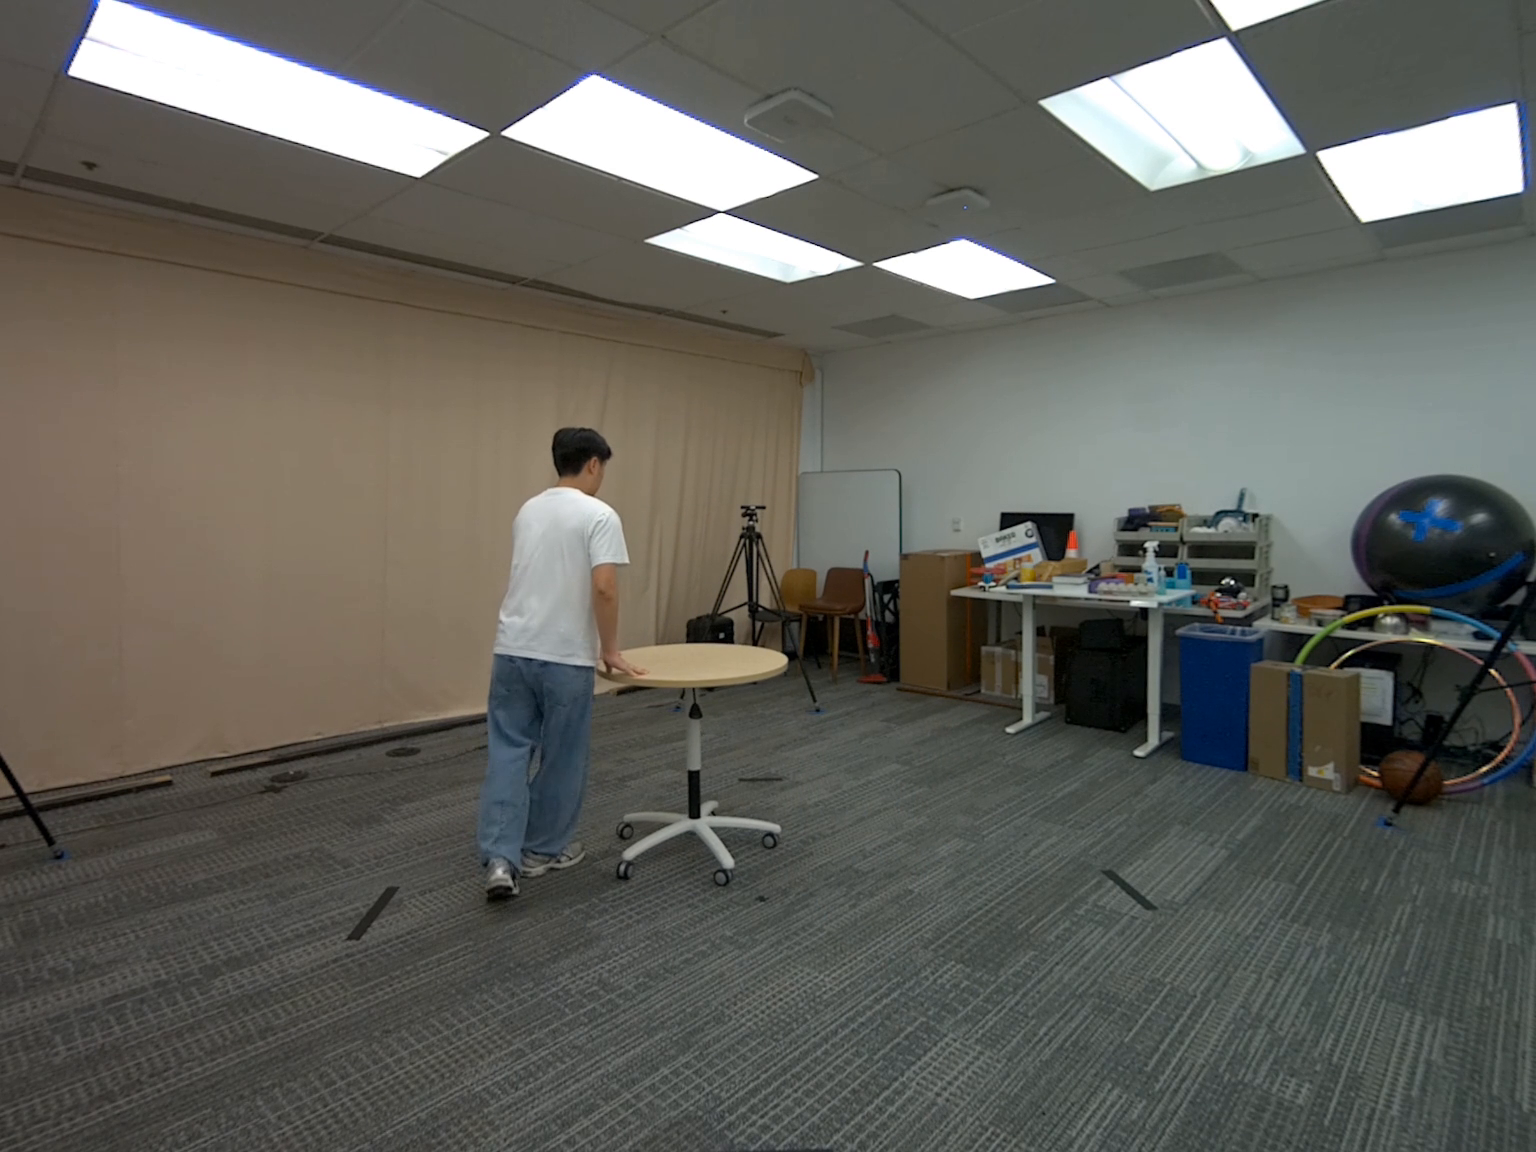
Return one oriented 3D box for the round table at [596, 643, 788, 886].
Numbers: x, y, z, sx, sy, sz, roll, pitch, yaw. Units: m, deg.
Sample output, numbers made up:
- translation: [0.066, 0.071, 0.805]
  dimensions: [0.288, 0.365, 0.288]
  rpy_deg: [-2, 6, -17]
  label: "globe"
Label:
- translation: [-0.299, 0.727, 3.370]
  dimensions: [0.763, 0.792, 0.766]
  rpy_deg: [-1, 4, -2]
  label: "round table"
